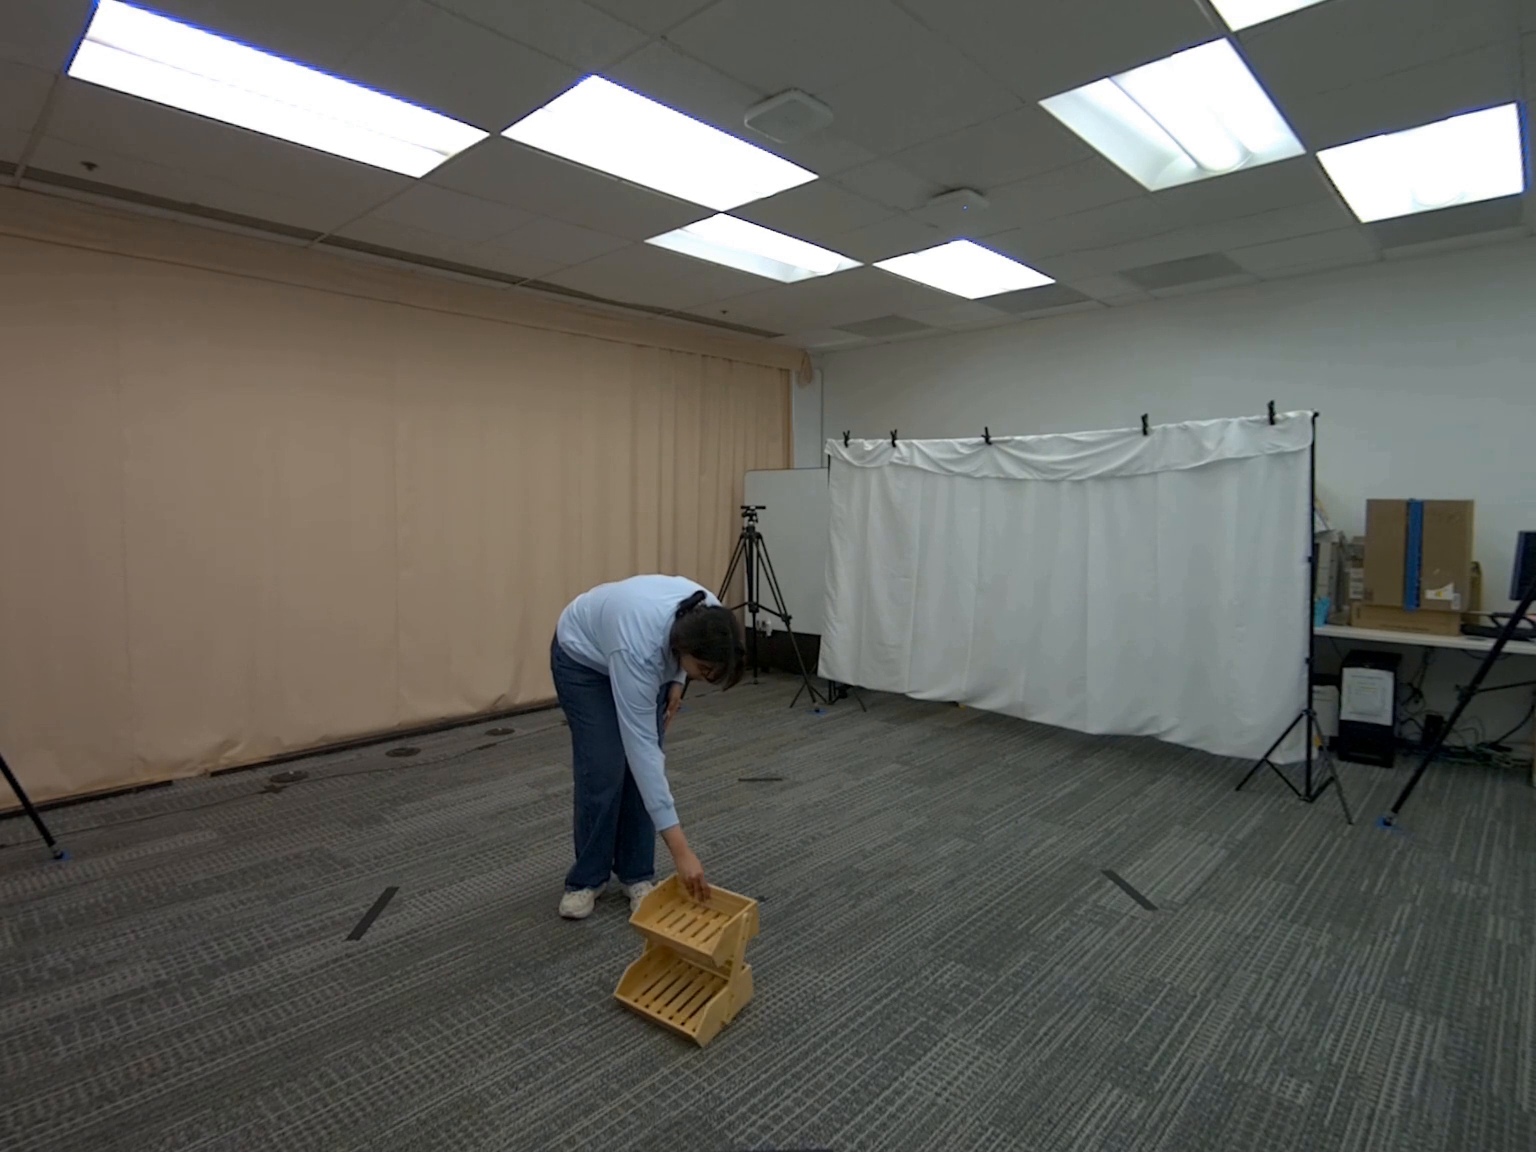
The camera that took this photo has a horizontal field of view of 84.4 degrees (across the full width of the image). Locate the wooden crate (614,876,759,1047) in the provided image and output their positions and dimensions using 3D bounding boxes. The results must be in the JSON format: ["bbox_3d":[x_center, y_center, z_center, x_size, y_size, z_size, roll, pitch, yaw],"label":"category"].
[{"bbox_3d":[-0.228,1.052,2.331,0.335,0.271,0.294,3,12,37],"label":"wooden crate"}]
